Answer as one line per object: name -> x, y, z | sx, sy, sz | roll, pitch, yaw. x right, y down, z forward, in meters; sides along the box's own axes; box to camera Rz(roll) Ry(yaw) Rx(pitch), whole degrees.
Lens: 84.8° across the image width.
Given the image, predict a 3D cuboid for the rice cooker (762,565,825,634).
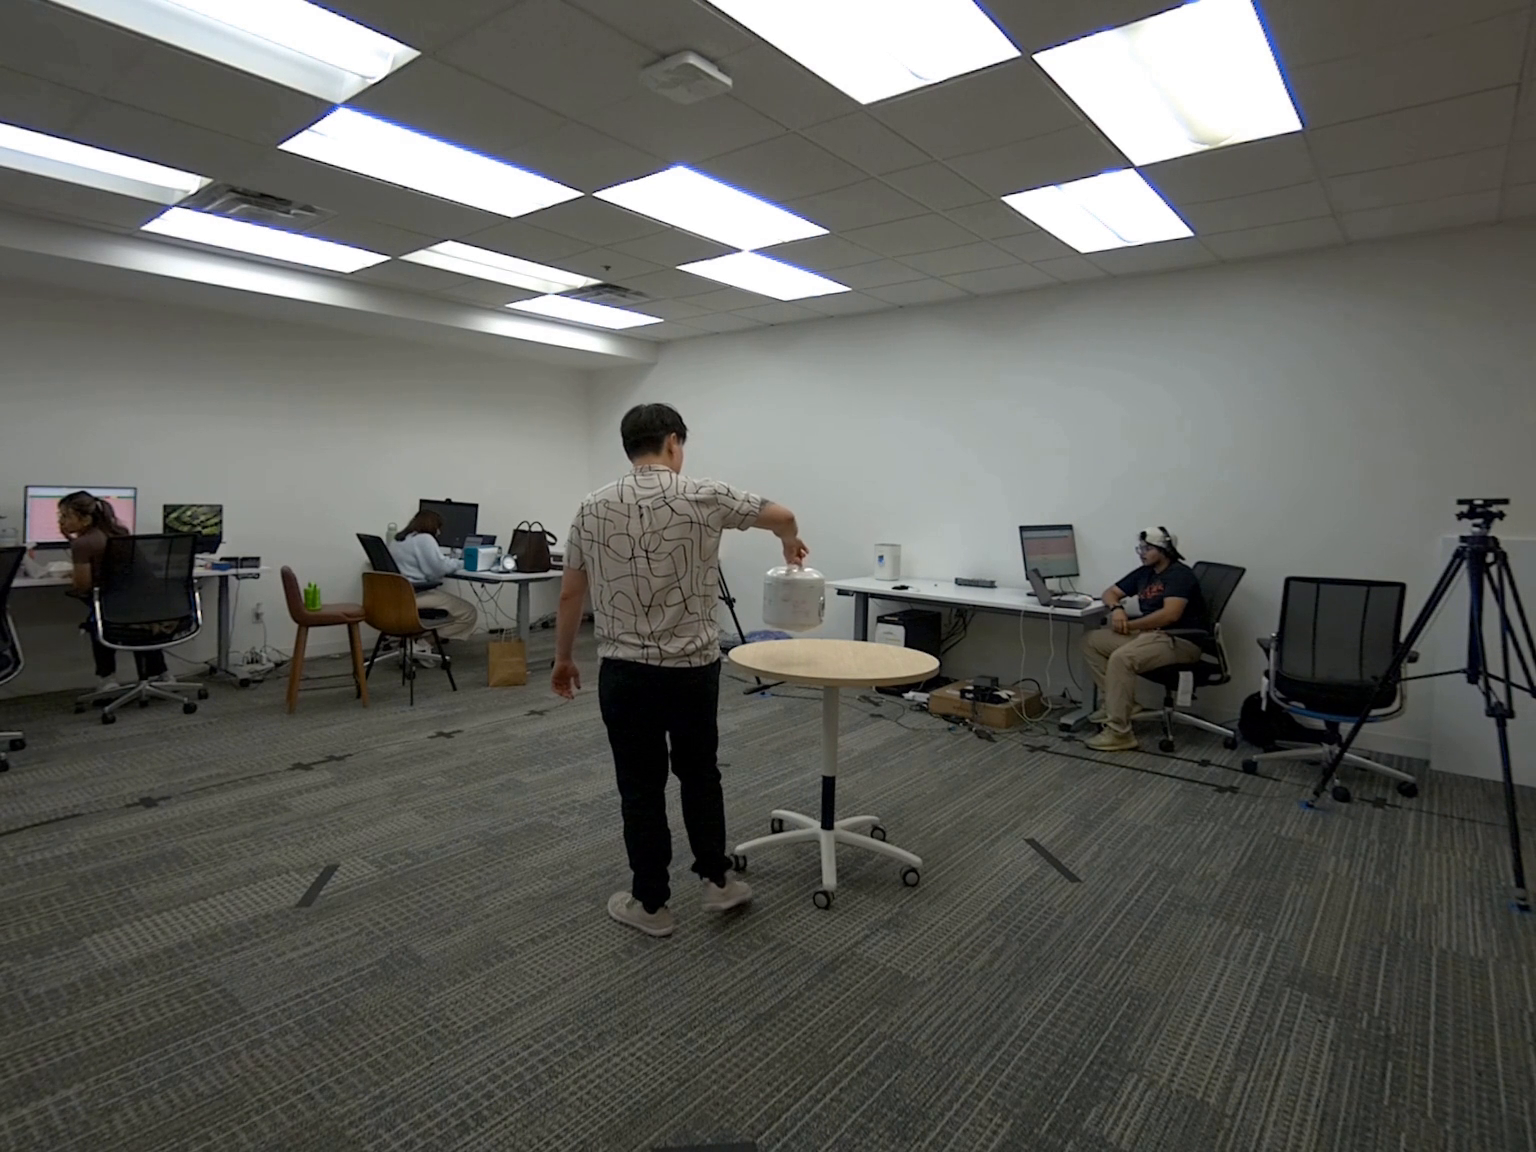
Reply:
rice cooker -> 0.084, 0.064, 3.002 | 0.222, 0.232, 0.216 | 3, 6, 22
